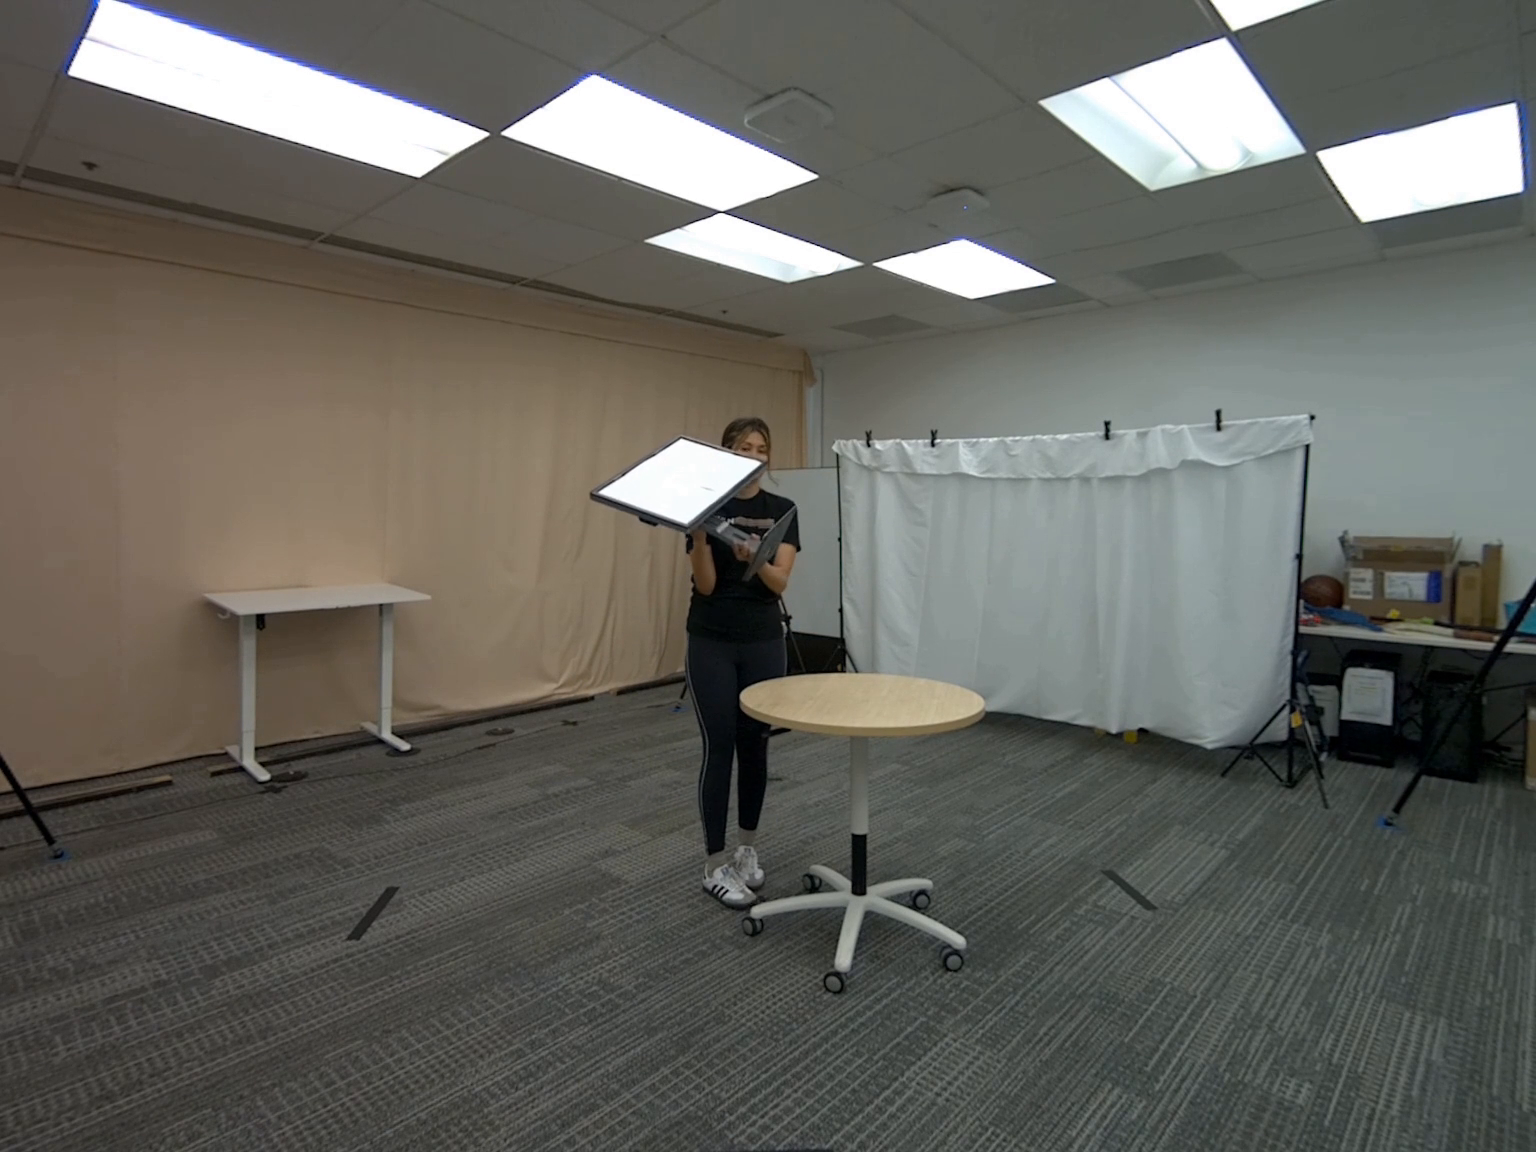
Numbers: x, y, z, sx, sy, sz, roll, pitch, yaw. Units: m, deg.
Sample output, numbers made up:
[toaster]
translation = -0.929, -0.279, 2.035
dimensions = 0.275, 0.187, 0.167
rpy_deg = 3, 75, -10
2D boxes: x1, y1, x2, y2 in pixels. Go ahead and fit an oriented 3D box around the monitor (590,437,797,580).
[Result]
[monitor]
translation = -0.207, -0.239, 2.787
dimensions = 0.531, 0.186, 0.533
rpy_deg = 31, 34, 11
